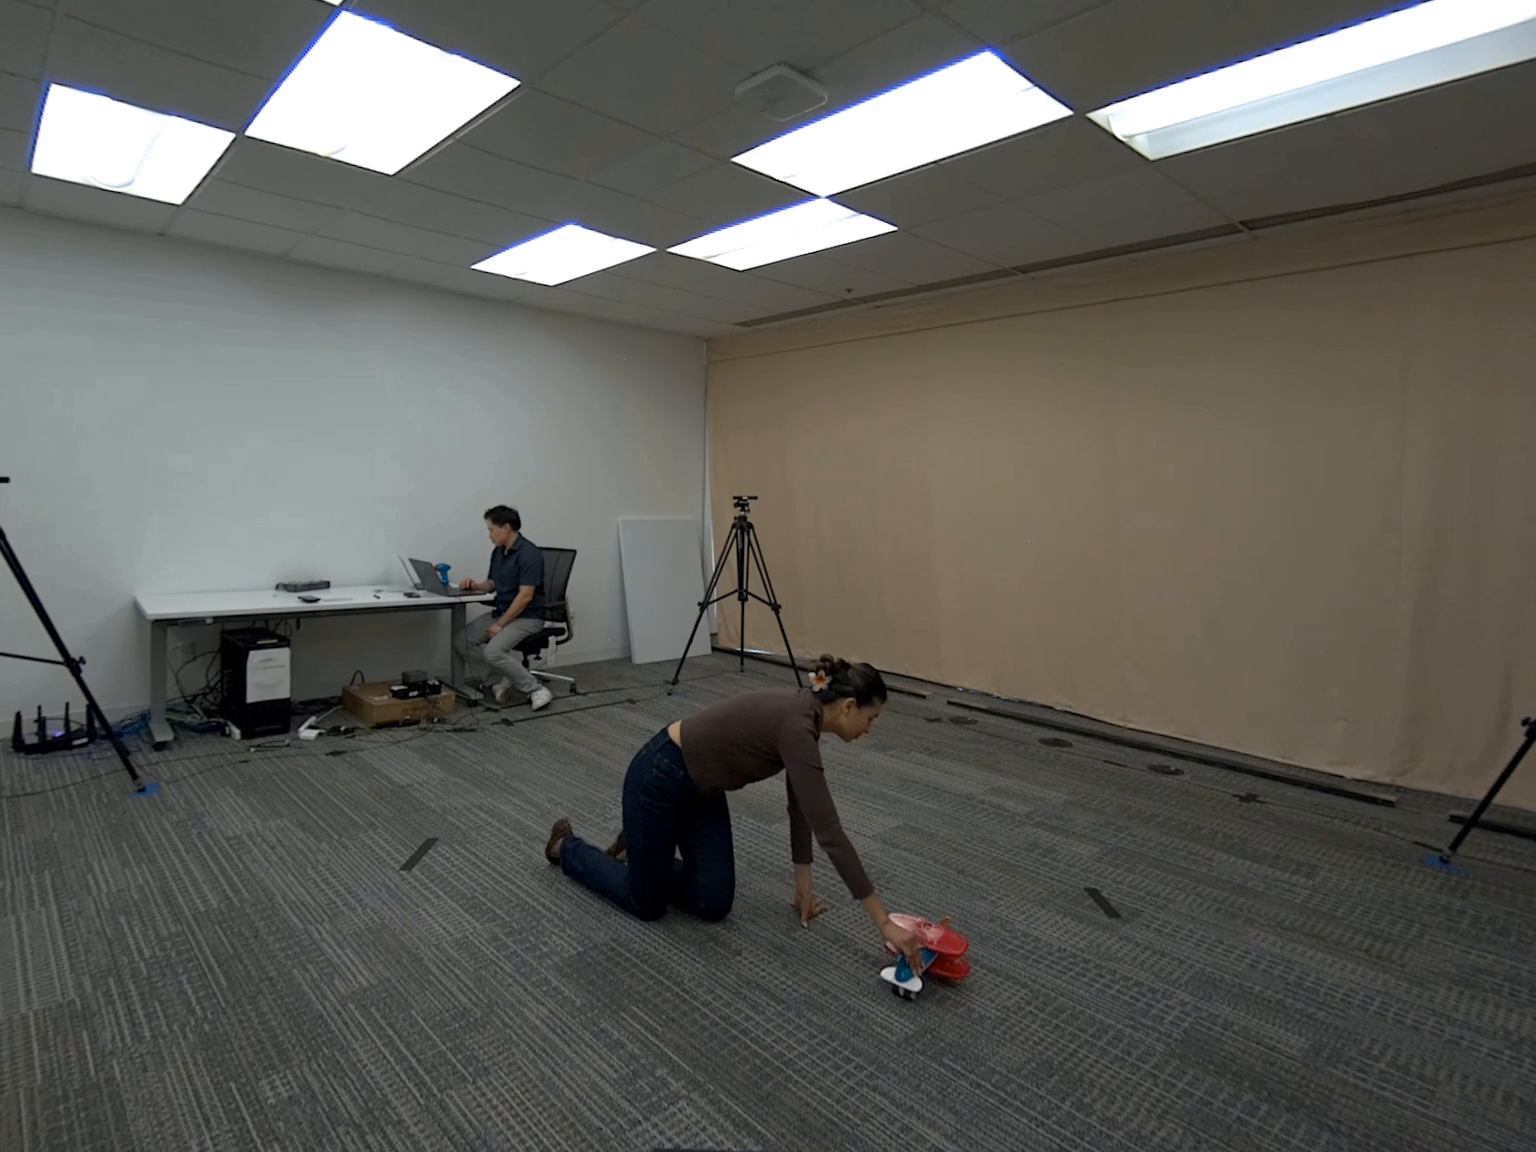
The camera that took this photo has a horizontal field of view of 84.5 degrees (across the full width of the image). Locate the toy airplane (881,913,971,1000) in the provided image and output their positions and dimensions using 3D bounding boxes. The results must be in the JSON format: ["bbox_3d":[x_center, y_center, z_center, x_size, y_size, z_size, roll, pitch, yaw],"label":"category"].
[{"bbox_3d":[0.449,1.108,2.420,0.253,0.156,0.257,2,3,10],"label":"toy airplane"}]
